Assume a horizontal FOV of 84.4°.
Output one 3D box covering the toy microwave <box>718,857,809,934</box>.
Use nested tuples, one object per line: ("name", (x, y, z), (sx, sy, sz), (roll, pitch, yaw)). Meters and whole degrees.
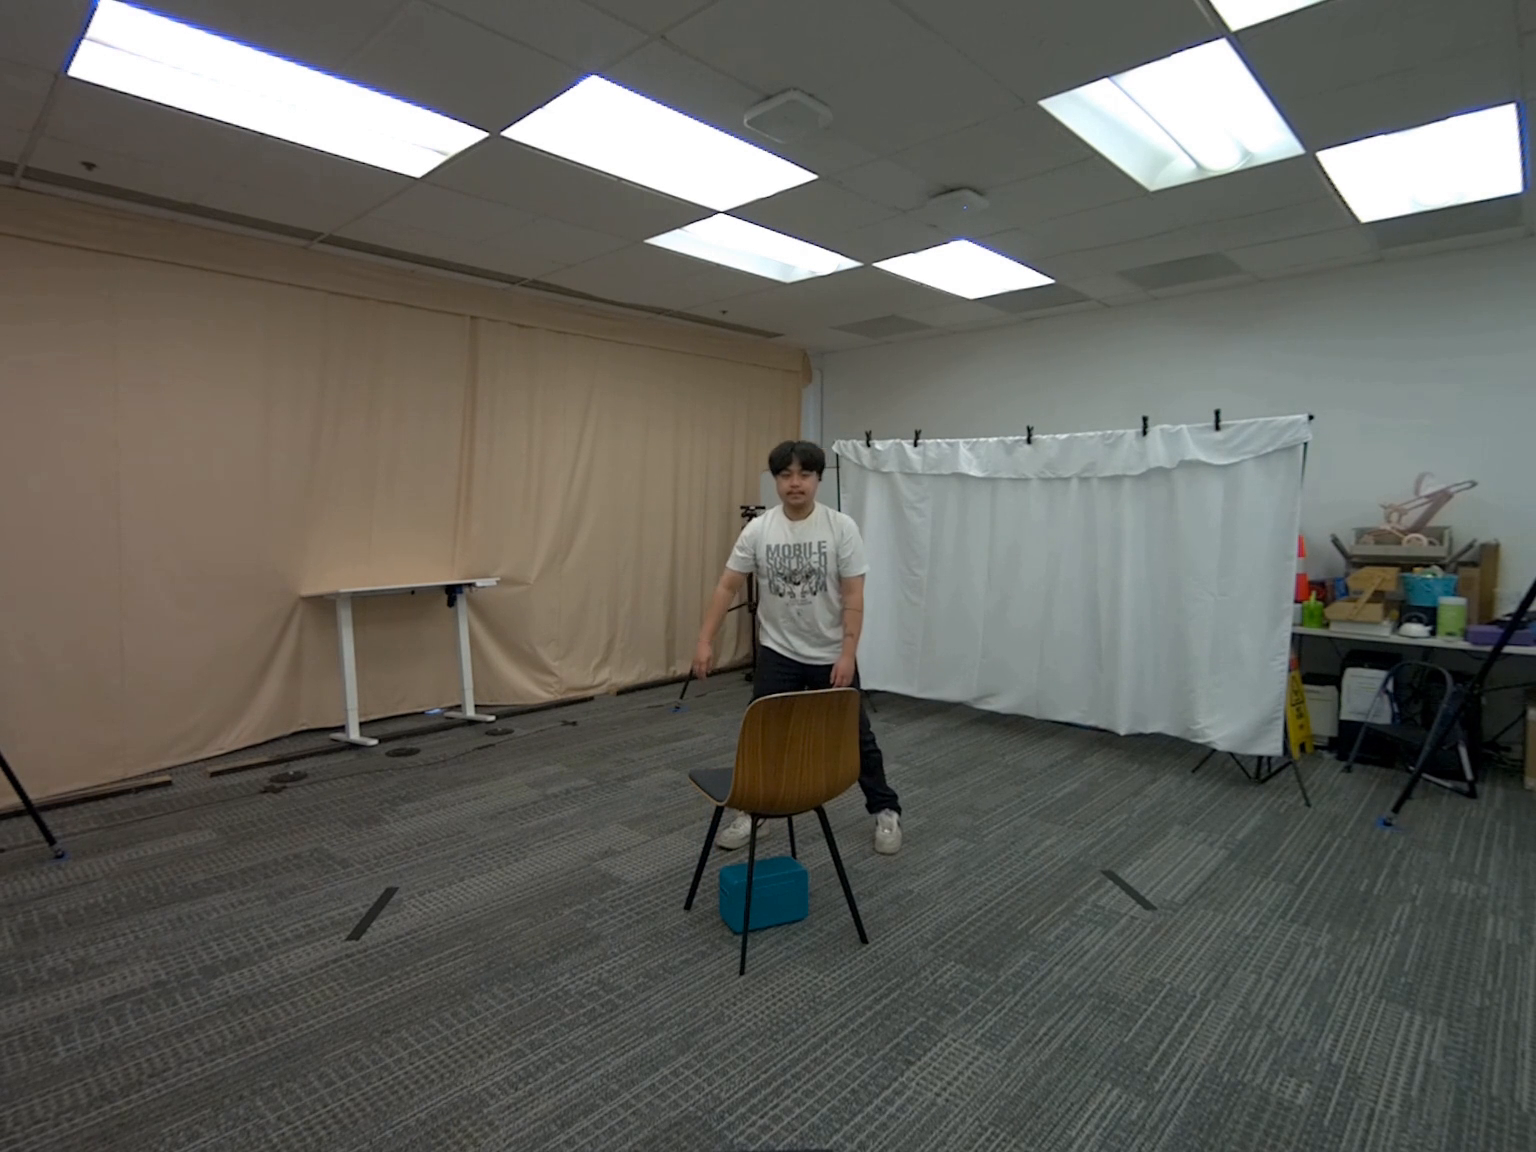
("toy microwave", (-0.020, 1.059, 2.833), (0.279, 0.184, 0.156), (-2, 4, -24))
